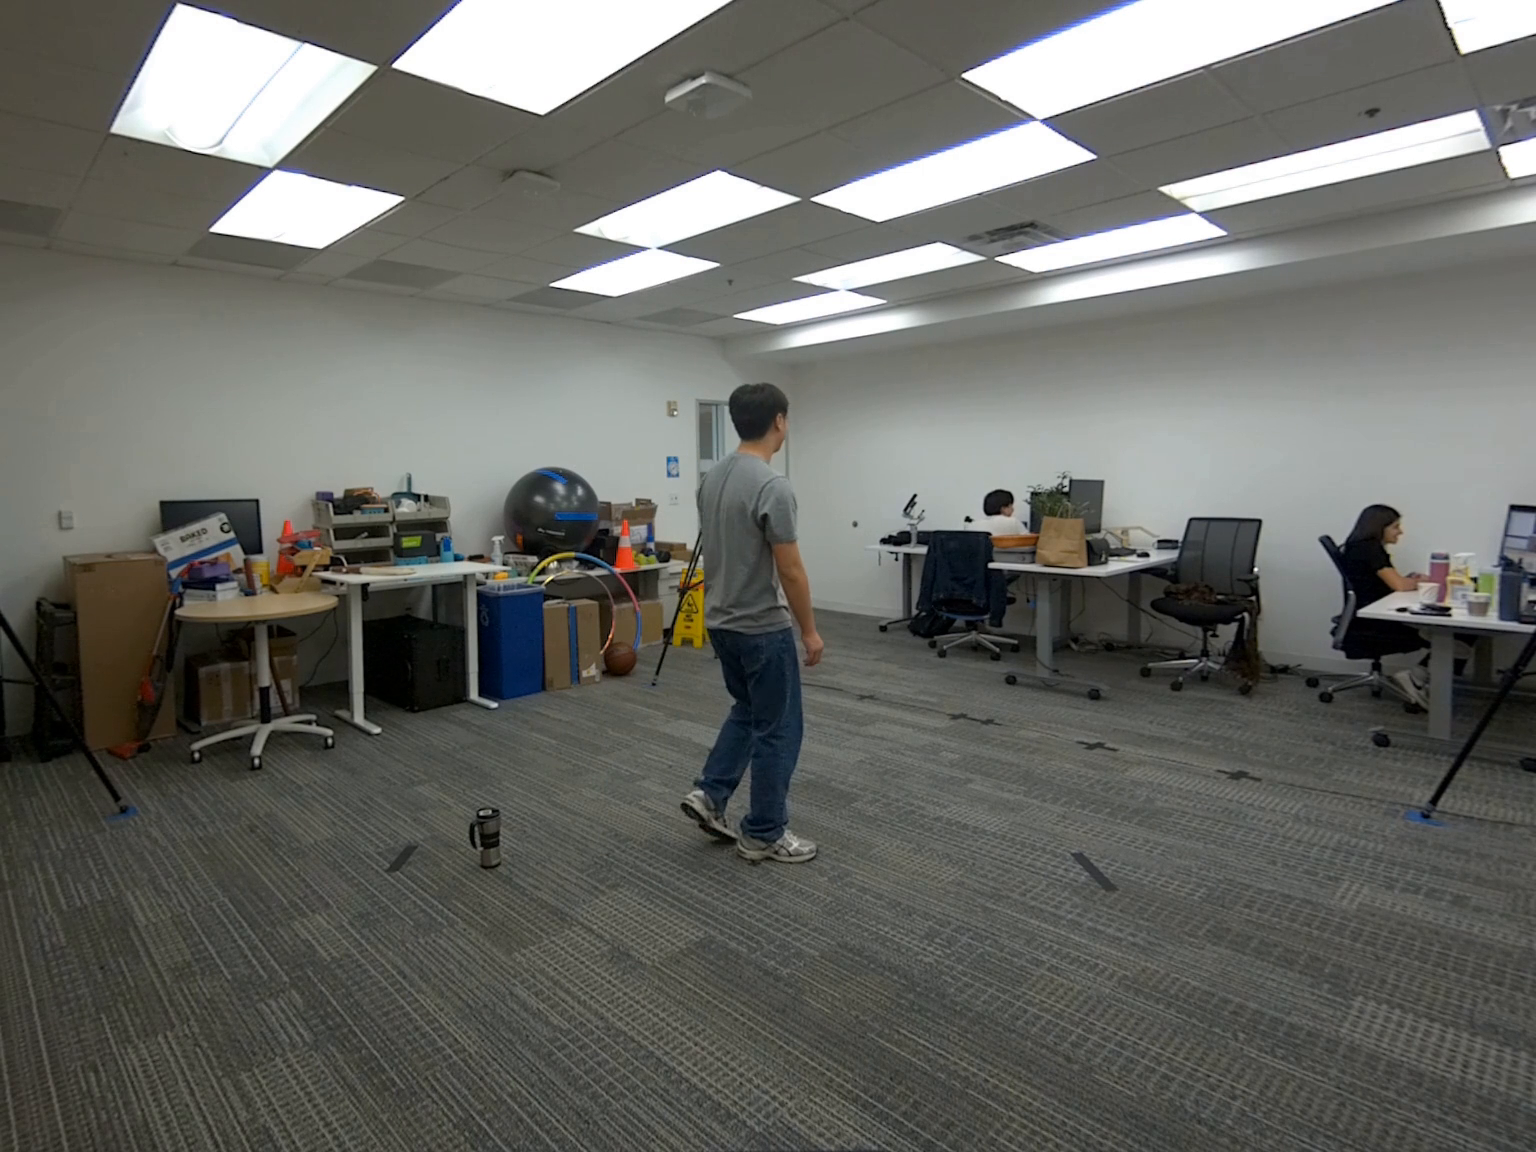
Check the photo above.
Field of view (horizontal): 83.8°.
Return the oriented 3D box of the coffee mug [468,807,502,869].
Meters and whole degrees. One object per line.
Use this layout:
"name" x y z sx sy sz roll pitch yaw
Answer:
"coffee mug" -1.036 0.964 3.121 0.091 0.202 0.118 5 6 43
